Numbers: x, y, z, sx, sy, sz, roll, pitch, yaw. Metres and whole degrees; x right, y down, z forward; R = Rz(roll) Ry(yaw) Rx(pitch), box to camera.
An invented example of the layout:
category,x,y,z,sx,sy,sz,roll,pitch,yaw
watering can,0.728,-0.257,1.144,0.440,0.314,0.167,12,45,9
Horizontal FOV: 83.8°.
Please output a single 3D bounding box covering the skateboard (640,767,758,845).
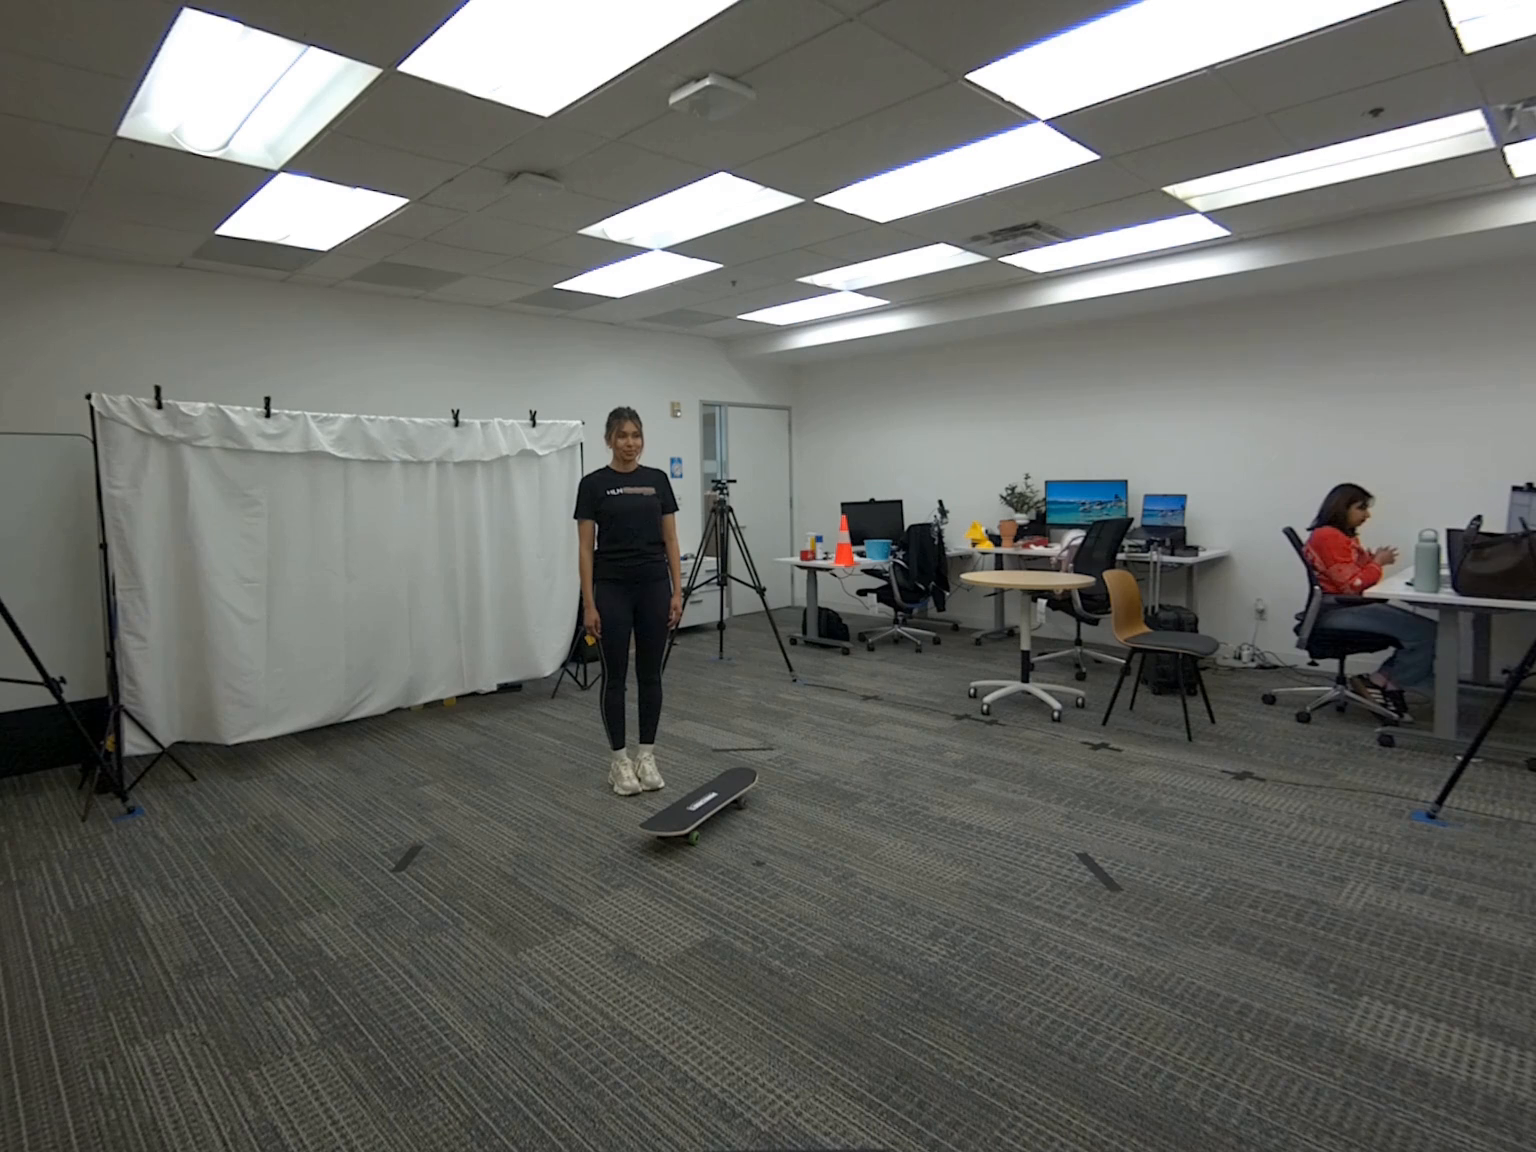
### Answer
category,x,y,z,sx,sy,sz,roll,pitch,yaw
skateboard,-0.267,0.950,3.498,0.198,0.110,0.770,0,6,26
